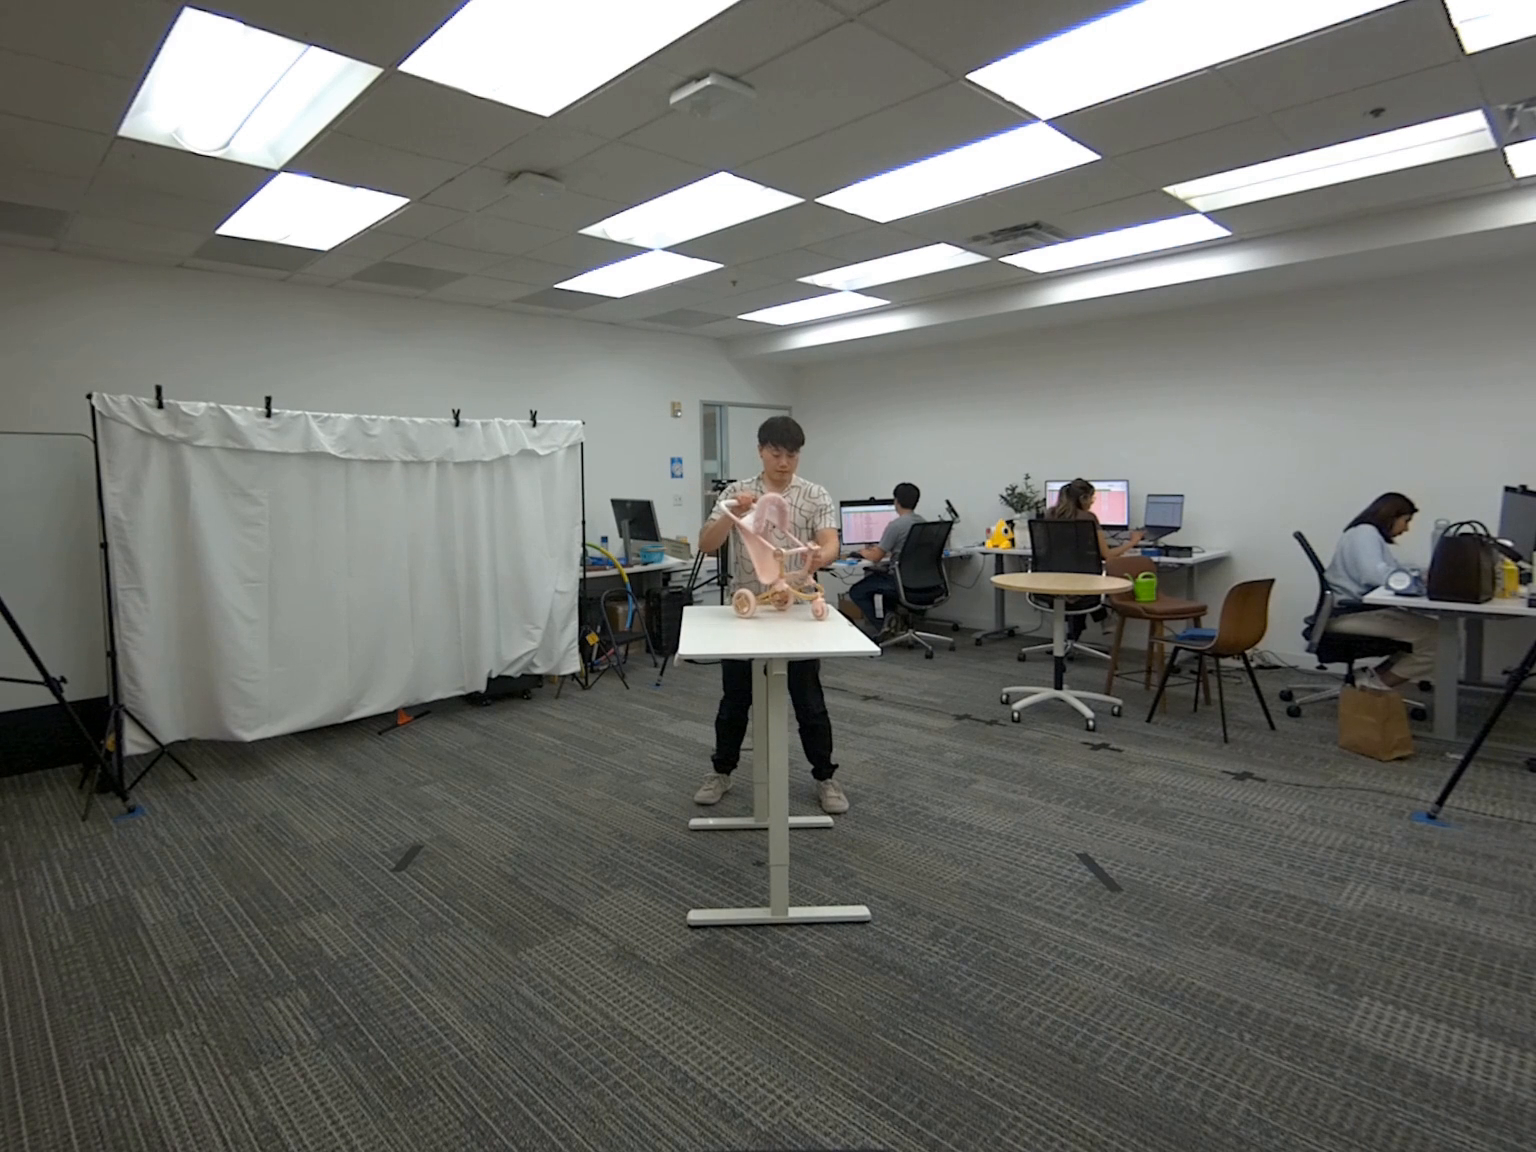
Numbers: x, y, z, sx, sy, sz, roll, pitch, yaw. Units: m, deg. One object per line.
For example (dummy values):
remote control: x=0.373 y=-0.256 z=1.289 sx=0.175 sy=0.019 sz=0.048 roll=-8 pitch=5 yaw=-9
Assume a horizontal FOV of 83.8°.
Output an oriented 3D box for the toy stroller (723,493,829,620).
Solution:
toy stroller: x=0.030 y=-0.072 z=3.230 sx=0.348 sy=0.539 sz=0.274 roll=-17 pitch=-8 yaw=42
